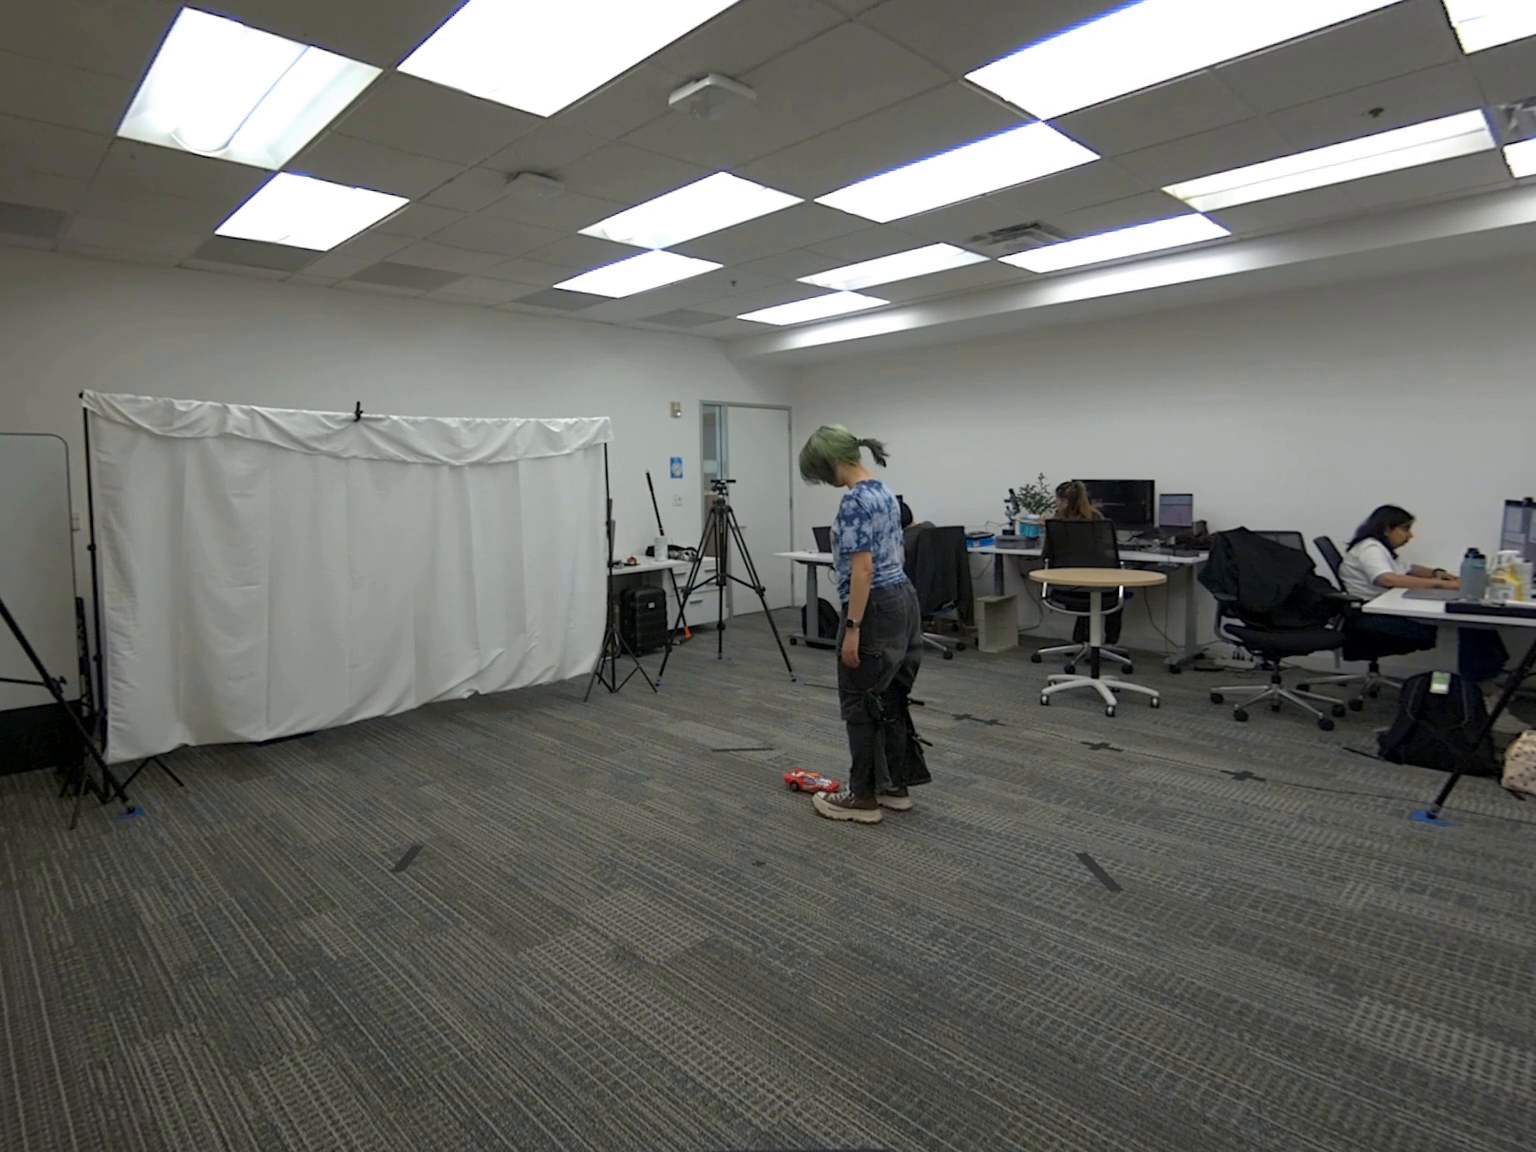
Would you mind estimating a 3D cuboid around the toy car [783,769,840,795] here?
[{"bbox_3d":[0.187,0.931,3.836,0.263,0.082,0.127,16,13,33],"label":"toy car"}]
